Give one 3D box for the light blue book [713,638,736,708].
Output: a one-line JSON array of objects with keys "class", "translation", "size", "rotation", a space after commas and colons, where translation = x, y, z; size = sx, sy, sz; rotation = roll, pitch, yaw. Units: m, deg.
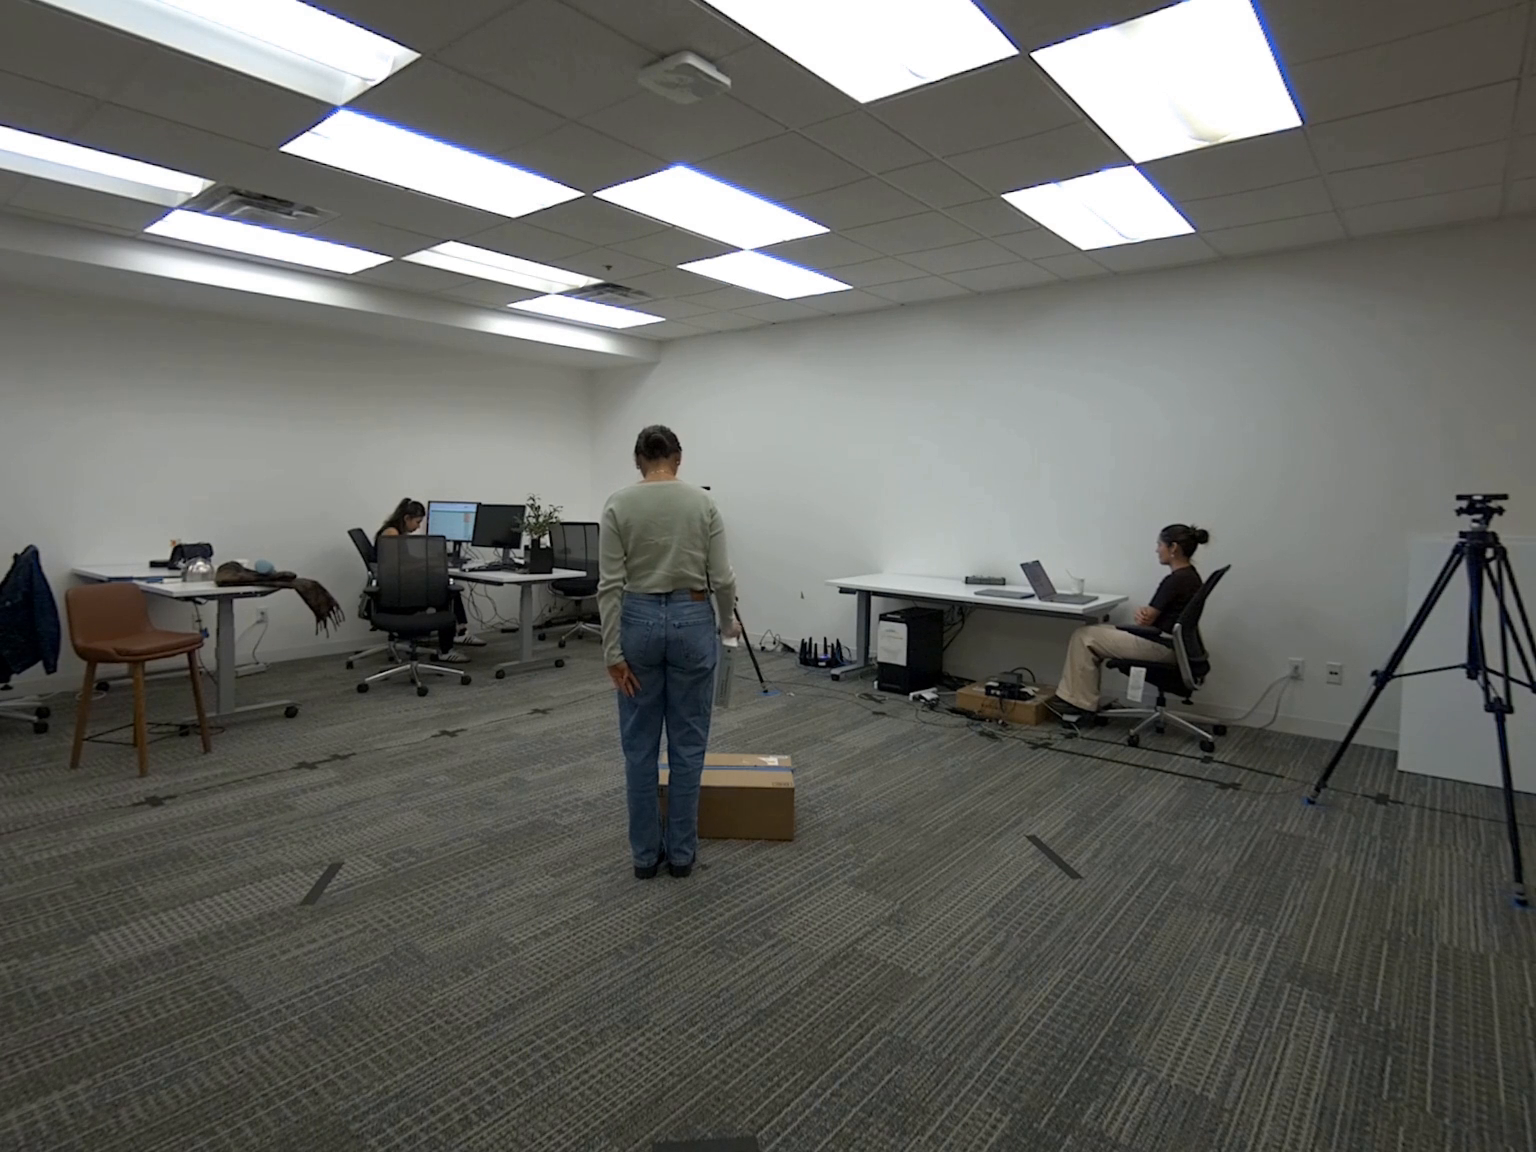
[{"class": "light blue book", "translation": [-0.179, 0.338, 3.252], "size": [0.058, 0.257, 0.196], "rotation": [3, 17, -10]}]
